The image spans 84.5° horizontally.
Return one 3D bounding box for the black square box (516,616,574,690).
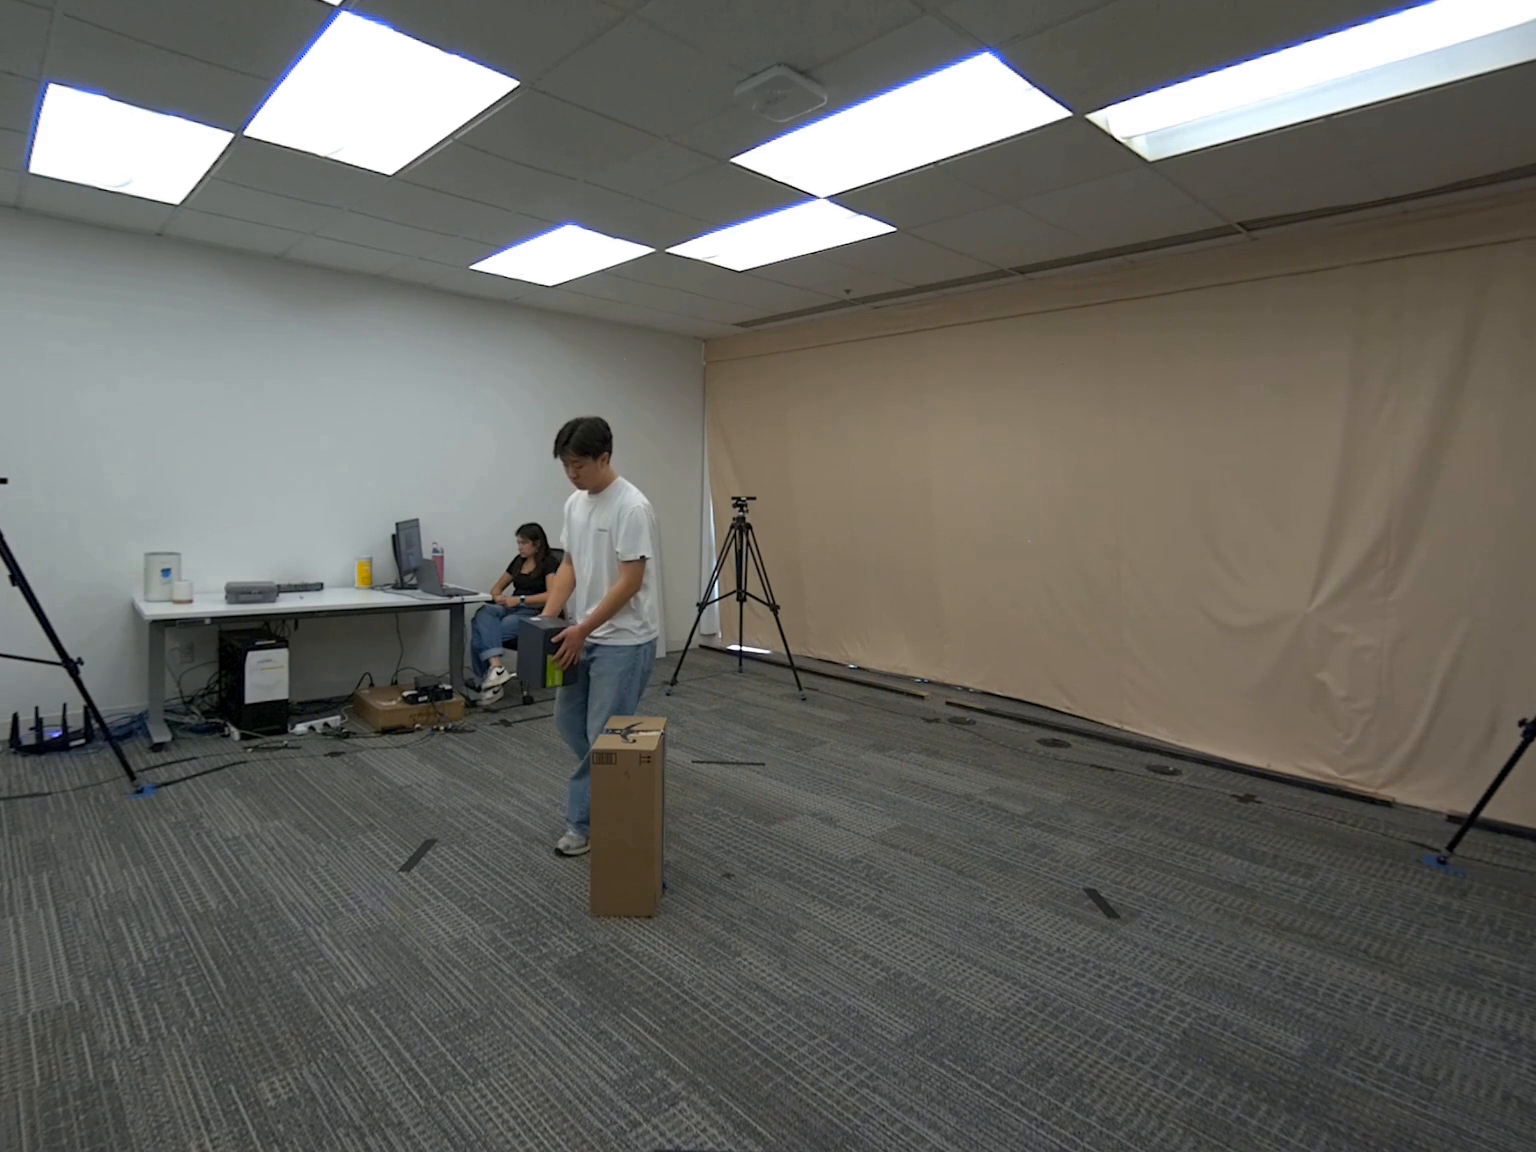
[{"bbox_3d":[-0.855,0.291,3.256,0.152,0.227,0.223,-3,10,-41],"label":"black square box"}]
